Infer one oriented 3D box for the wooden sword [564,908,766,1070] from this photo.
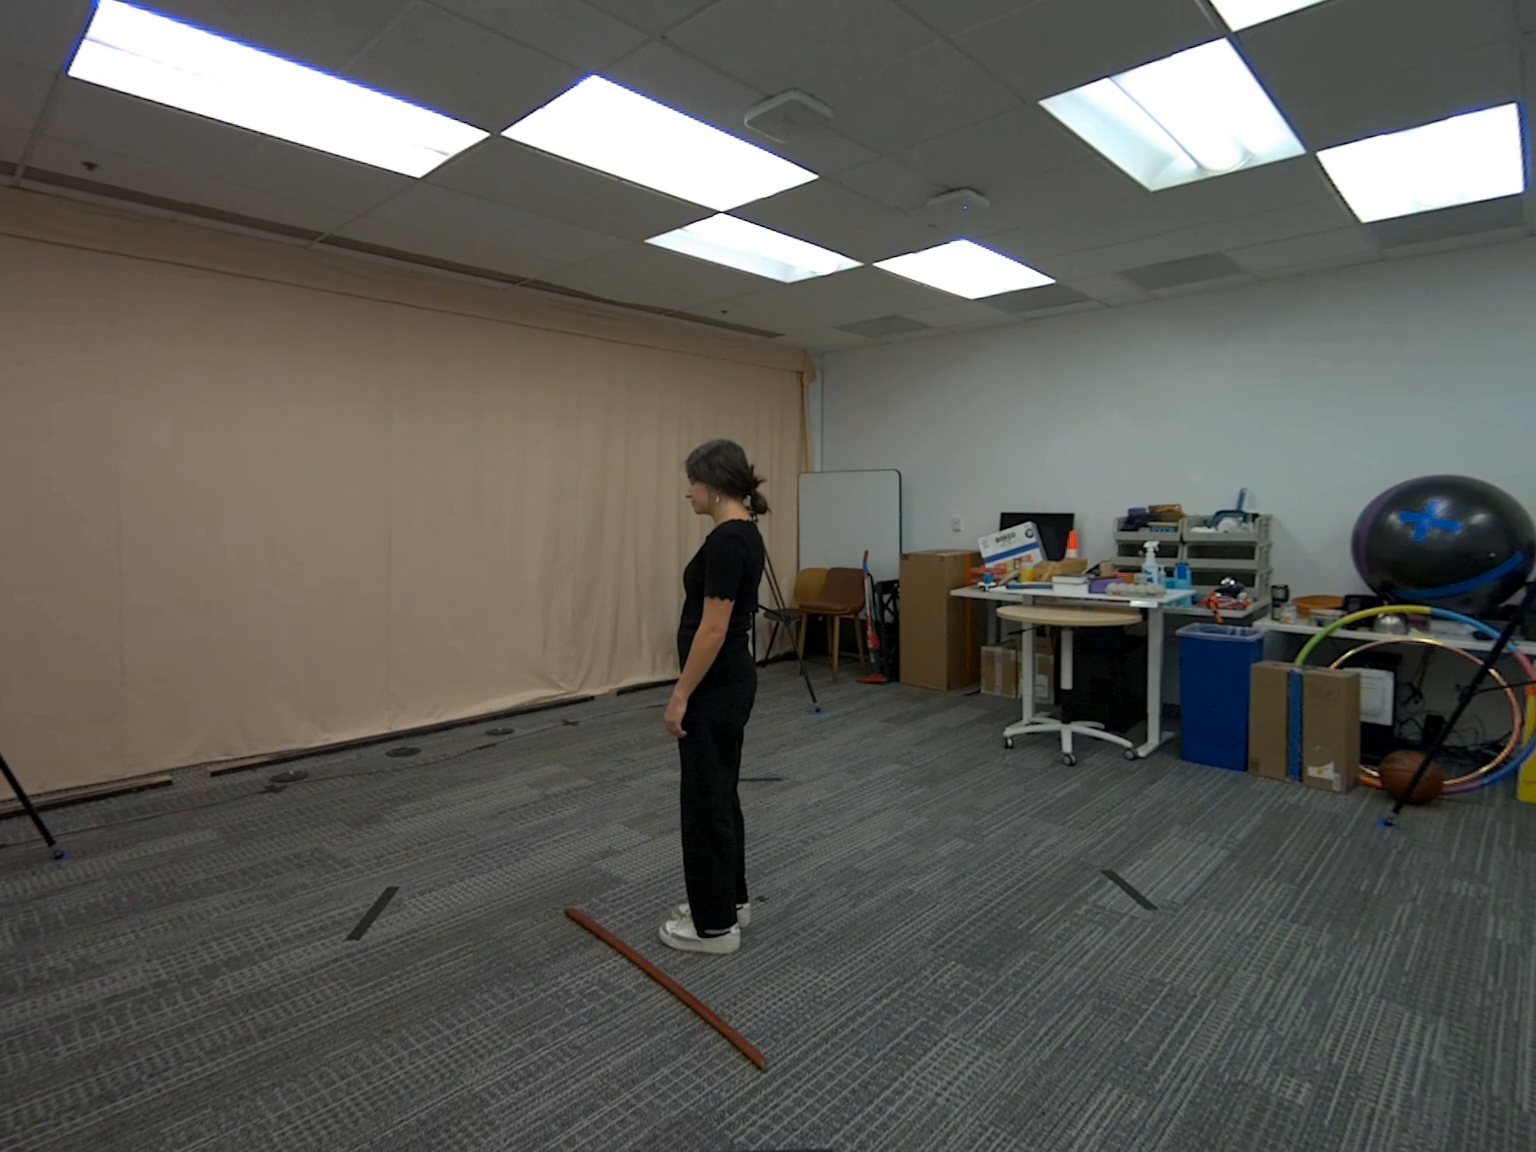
[{"bbox_3d":[-0.331,1.169,2.485,0.050,0.024,1.058,-10,10,-39],"label":"wooden sword"}]
